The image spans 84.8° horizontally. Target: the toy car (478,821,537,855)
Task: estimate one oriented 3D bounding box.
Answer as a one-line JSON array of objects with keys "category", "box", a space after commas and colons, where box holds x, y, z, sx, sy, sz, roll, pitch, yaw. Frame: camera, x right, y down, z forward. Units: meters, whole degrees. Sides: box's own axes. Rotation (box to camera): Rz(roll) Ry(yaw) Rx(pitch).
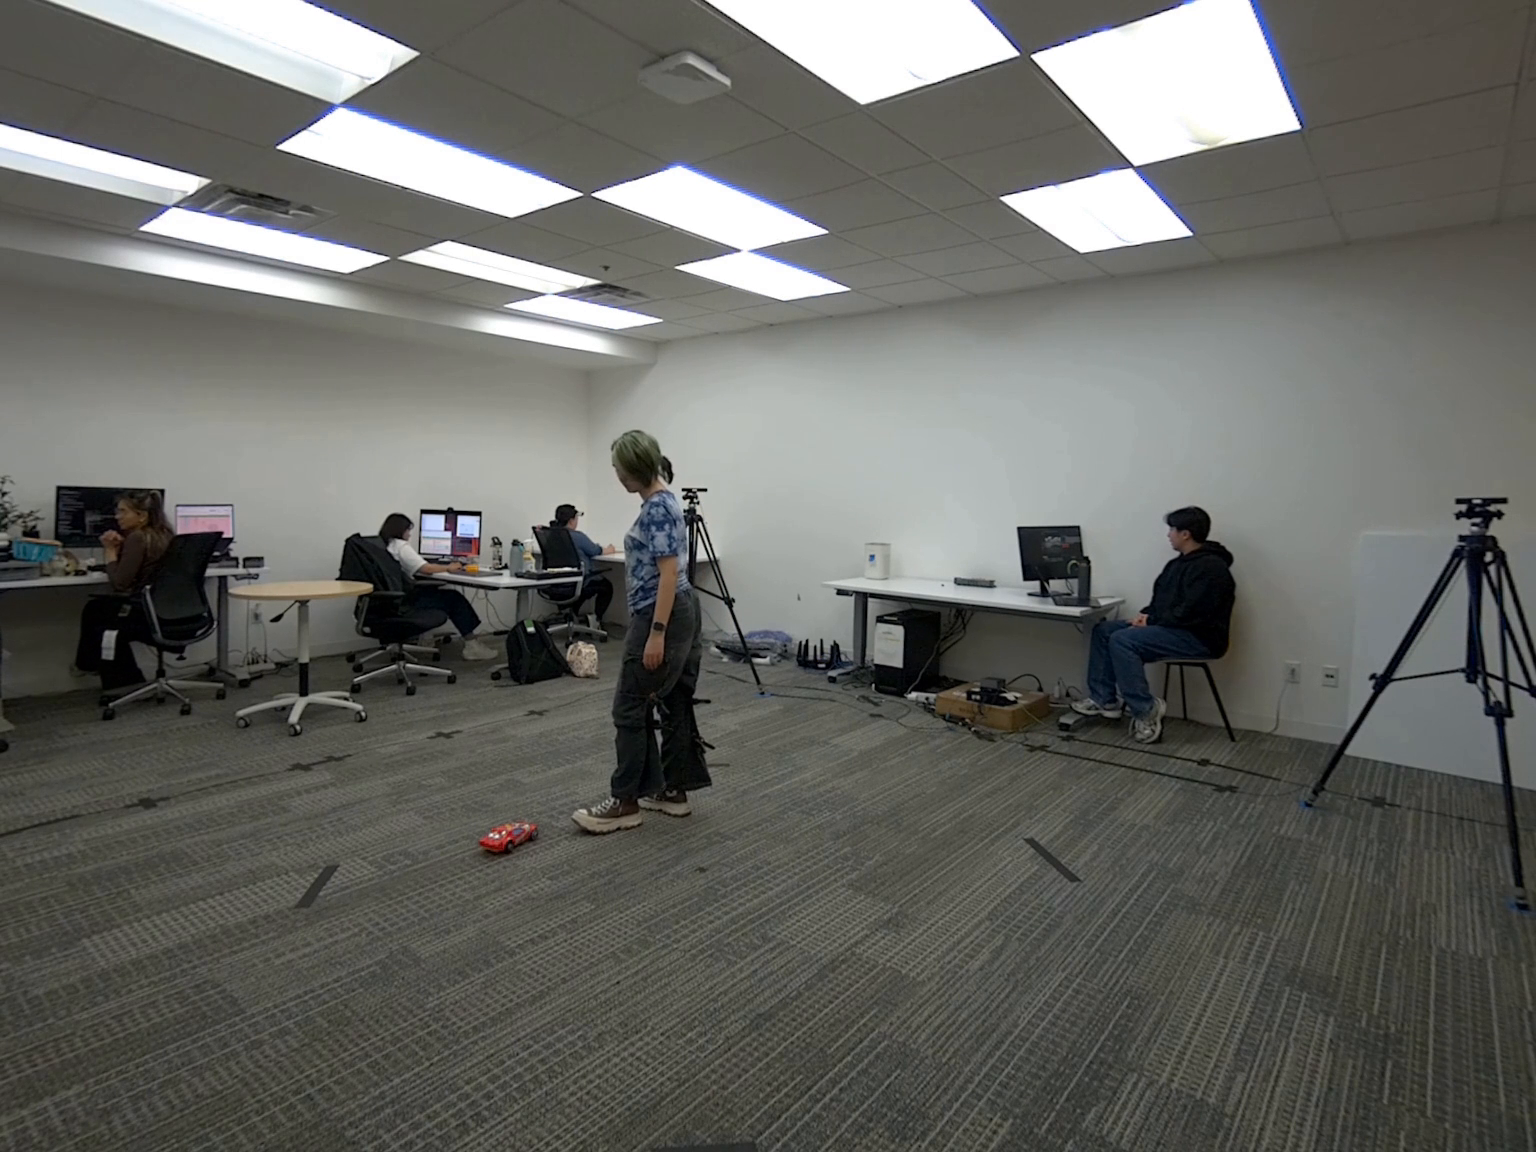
[{"category": "toy car", "box": [-1.022, 1.008, 3.283, 0.134, 0.083, 0.246, 3, -6, 27]}]
